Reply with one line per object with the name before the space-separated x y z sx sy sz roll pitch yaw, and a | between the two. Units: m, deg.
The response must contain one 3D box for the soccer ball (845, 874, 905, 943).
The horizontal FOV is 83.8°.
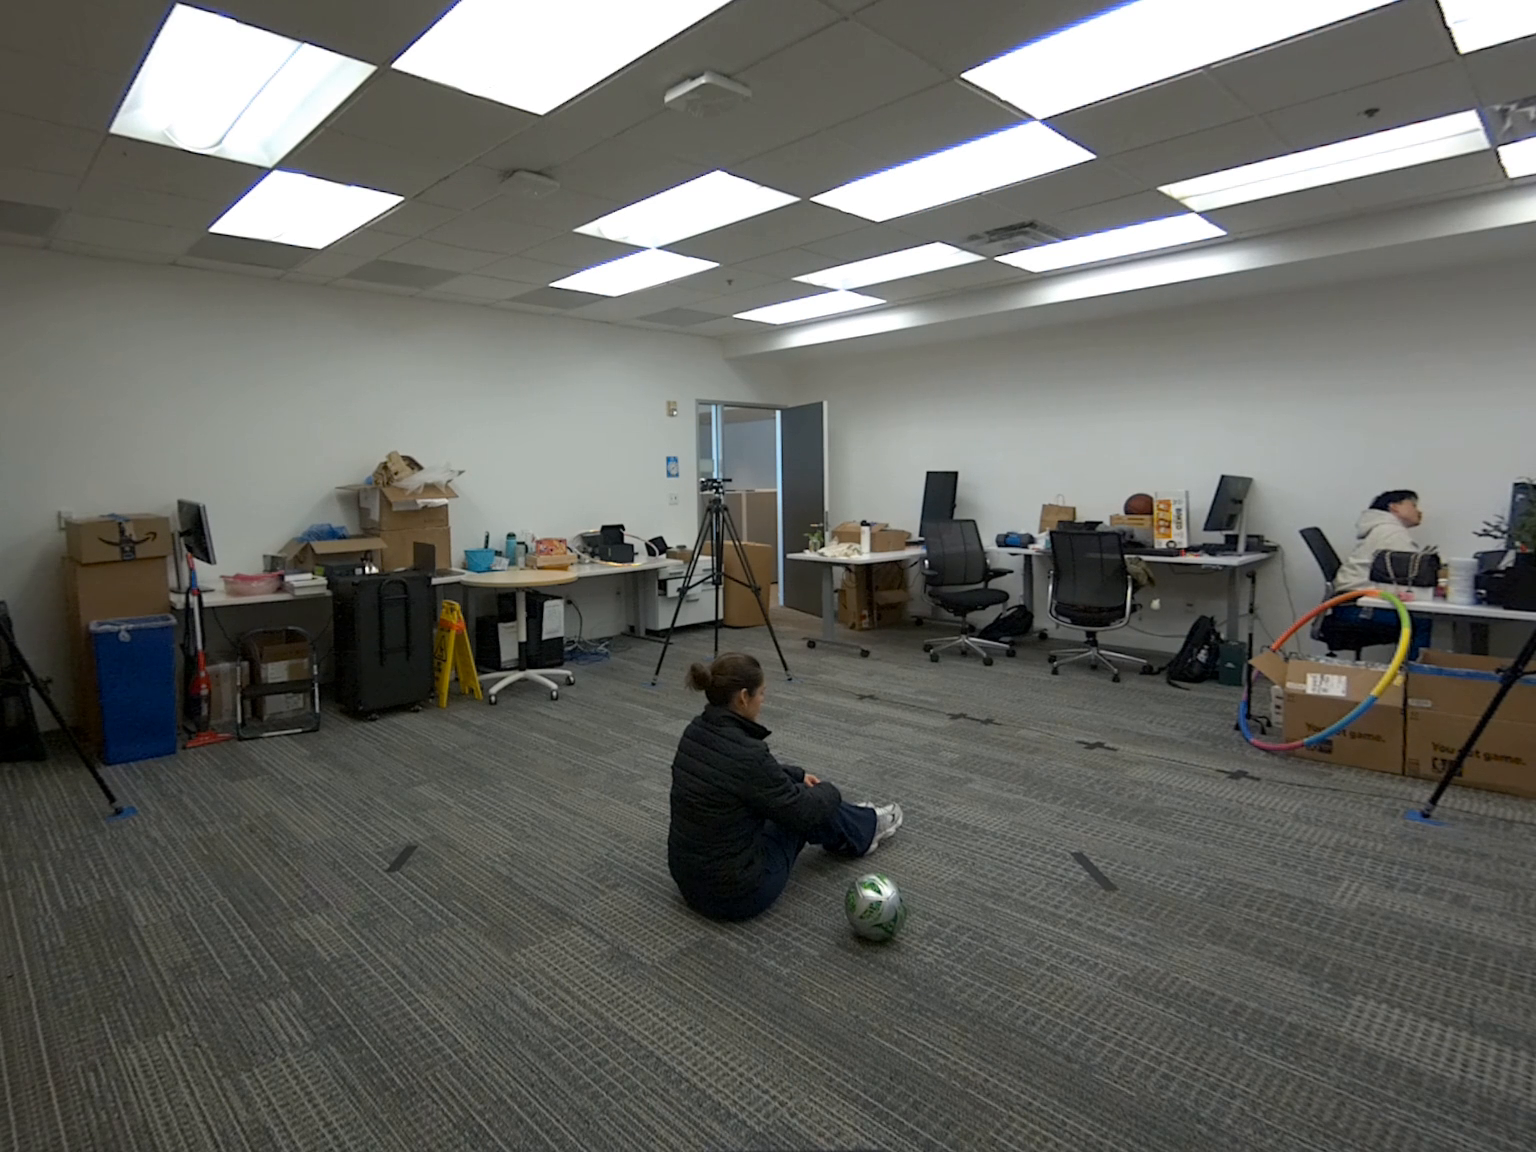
soccer ball | 0.322 0.998 2.595 0.187 0.187 0.188 0 1 -2
